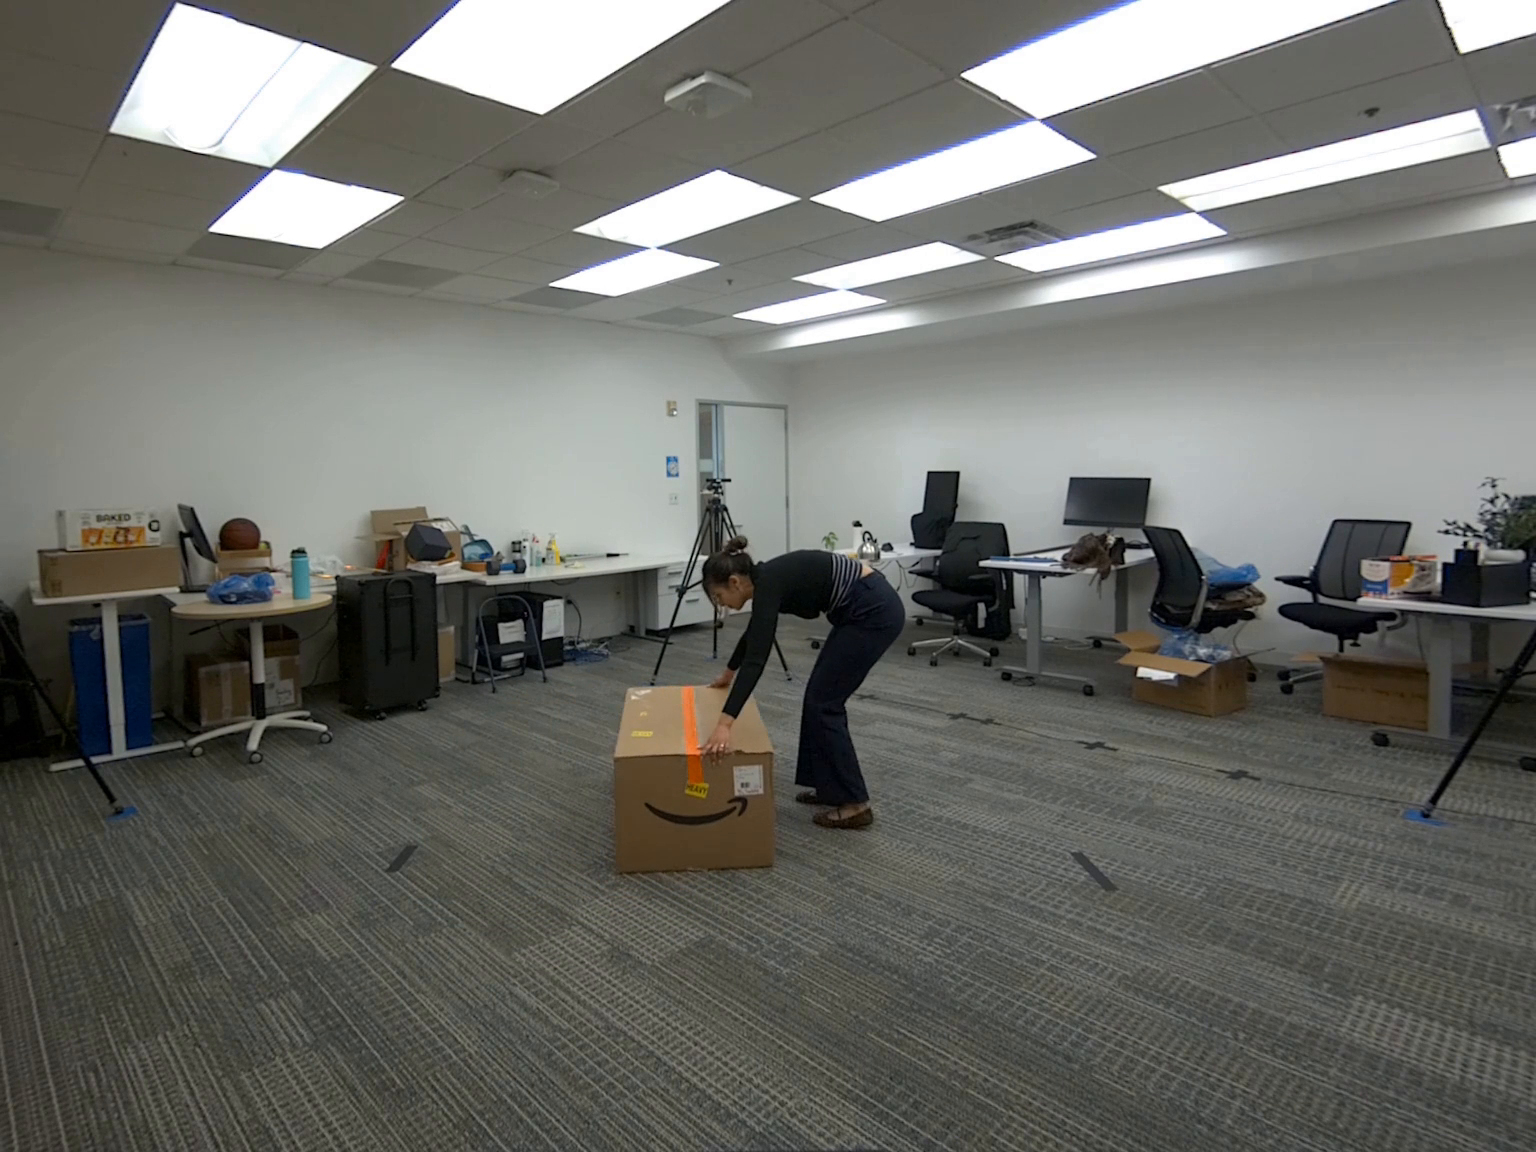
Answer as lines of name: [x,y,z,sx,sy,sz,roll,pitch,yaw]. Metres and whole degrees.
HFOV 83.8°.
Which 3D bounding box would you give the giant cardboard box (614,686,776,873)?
giant cardboard box: [-0.317,0.782,3.546,0.575,0.424,1.035,-1,6,-6]
